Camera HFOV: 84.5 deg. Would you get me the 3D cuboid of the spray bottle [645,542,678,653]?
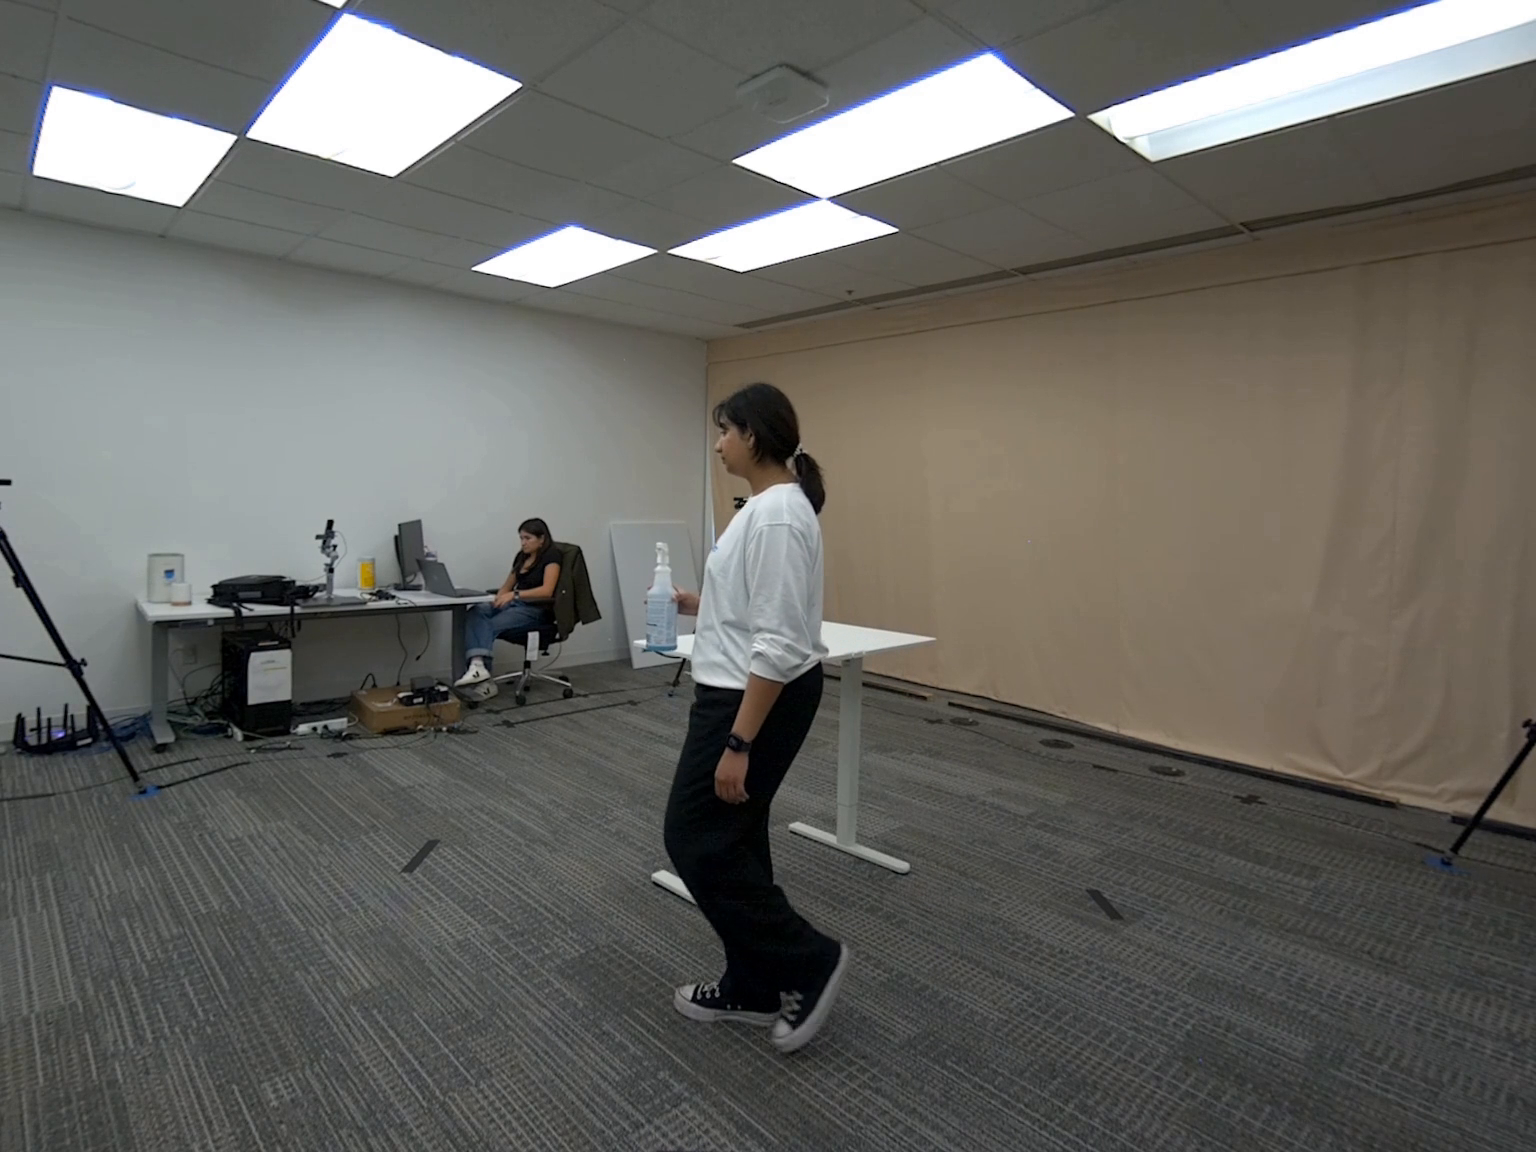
[{"bbox_3d":[-0.286,0.062,2.320,0.089,0.297,0.088,4,2,34],"label":"spray bottle"}]
